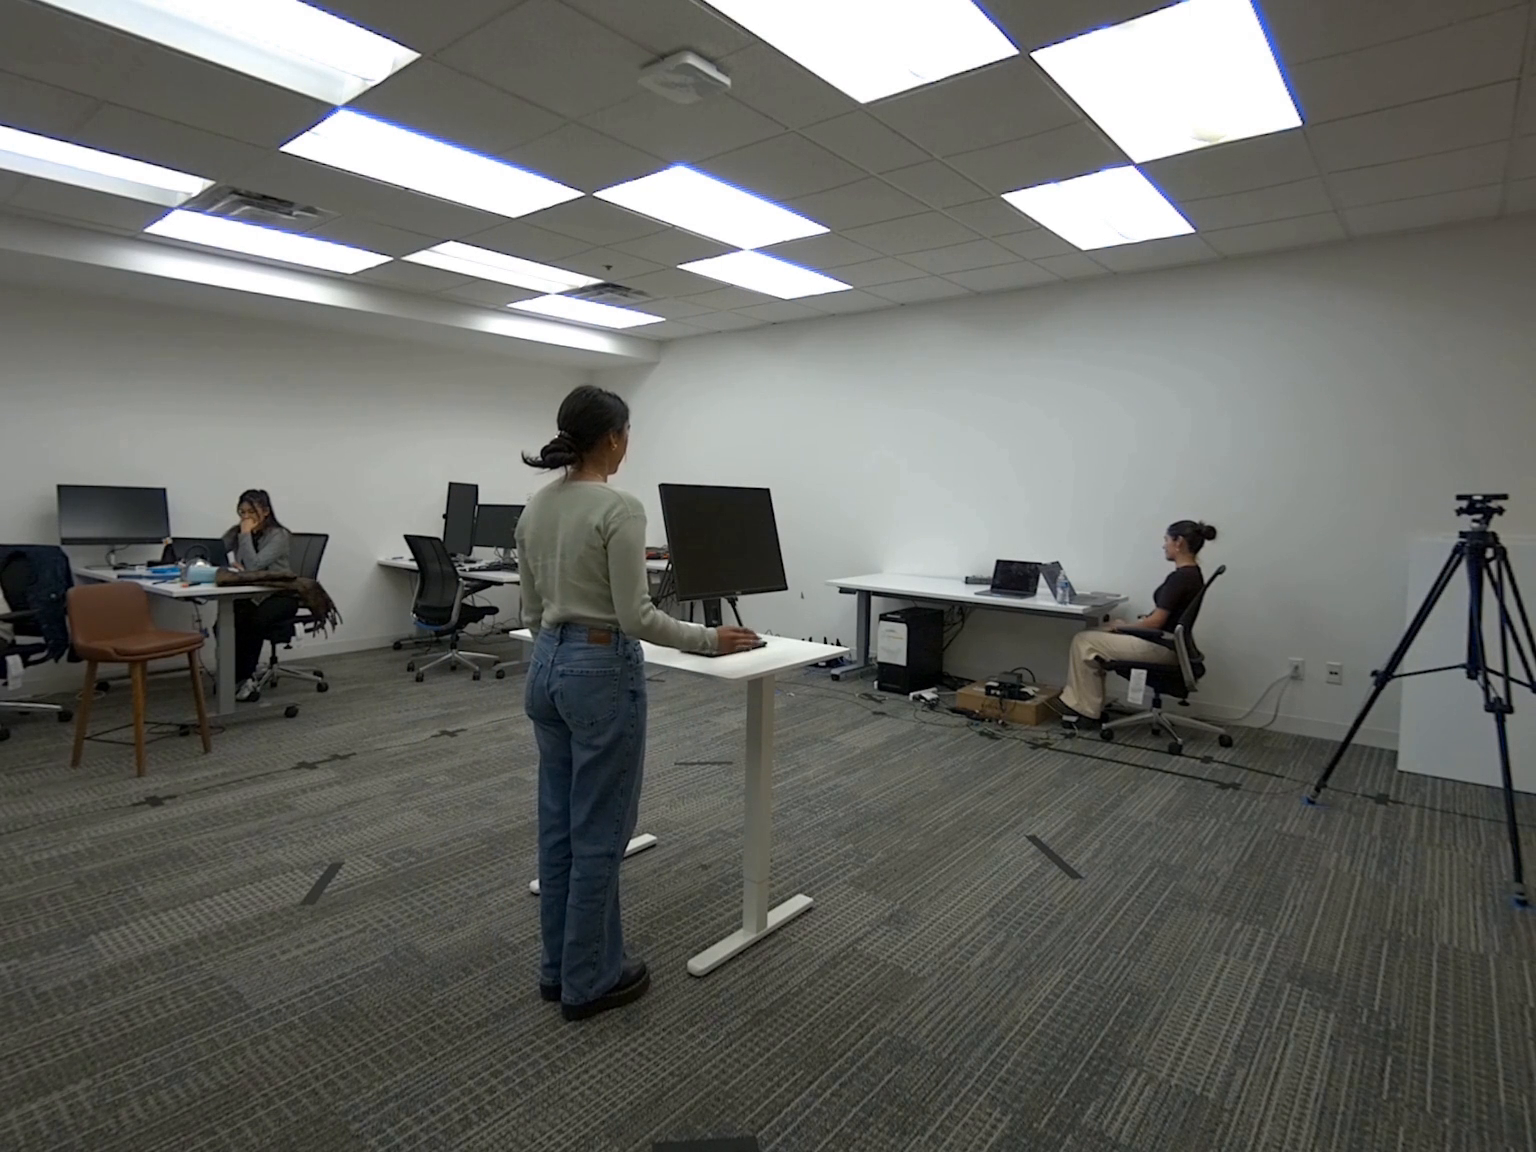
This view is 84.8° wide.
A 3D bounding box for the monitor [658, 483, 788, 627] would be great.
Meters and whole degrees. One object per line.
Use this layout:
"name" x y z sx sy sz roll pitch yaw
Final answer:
"monitor" -0.159 -0.031 2.681 0.180 0.514 0.514 6 5 37
